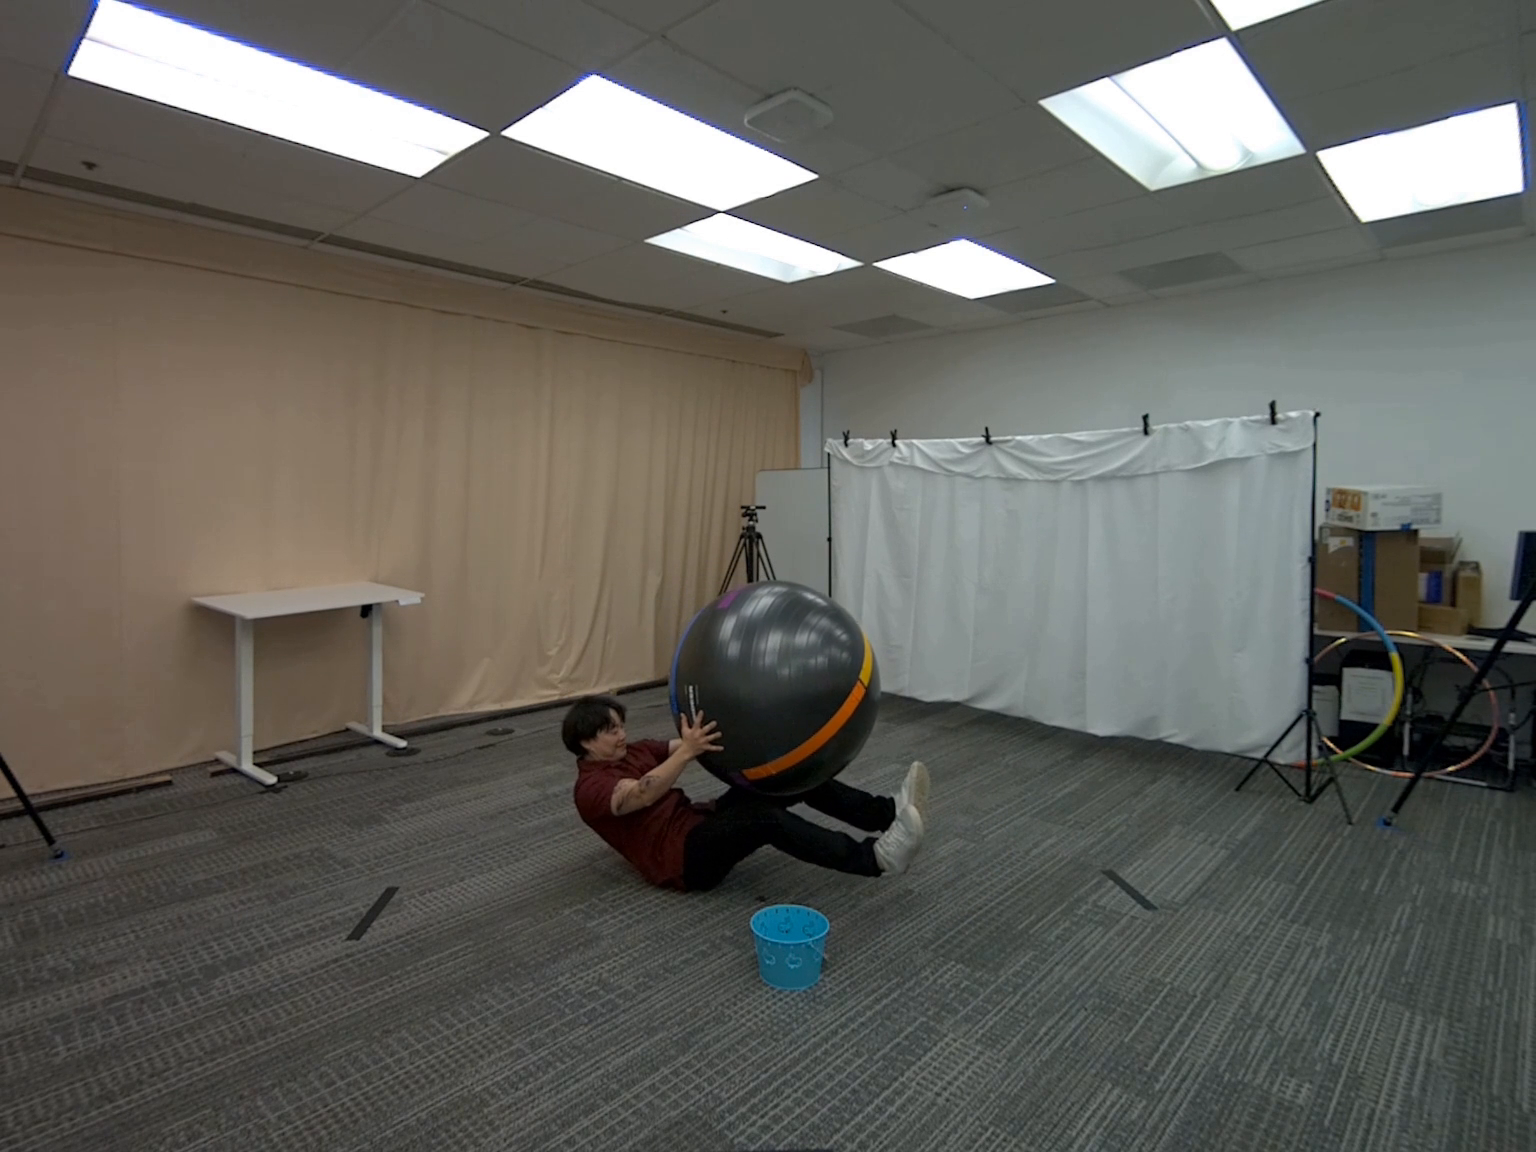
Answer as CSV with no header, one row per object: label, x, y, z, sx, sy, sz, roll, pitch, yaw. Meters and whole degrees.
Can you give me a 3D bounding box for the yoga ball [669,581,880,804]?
yoga ball,0.027,0.398,3.046,0.757,0.756,0.760,0,4,-2
